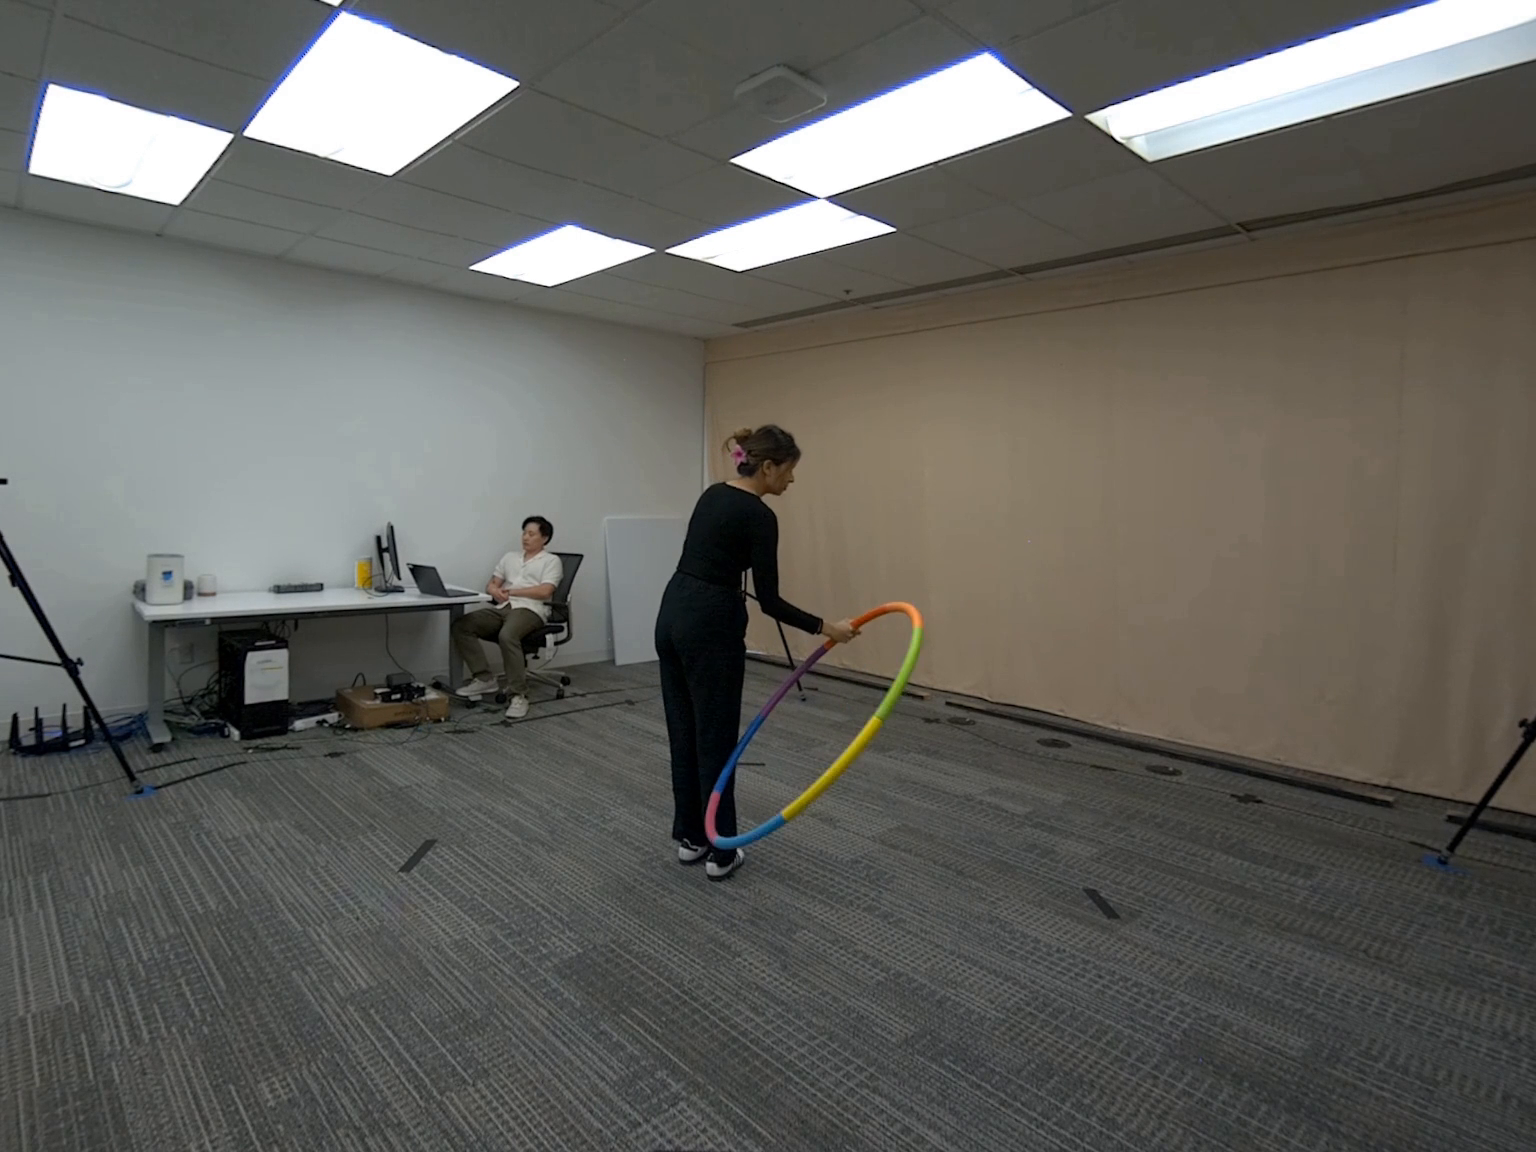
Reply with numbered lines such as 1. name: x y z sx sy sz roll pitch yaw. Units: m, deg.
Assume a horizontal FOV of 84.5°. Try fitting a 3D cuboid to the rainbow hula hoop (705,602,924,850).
1. rainbow hula hoop: 0.141 0.476 2.736 0.051 0.985 0.993 42 -1 -9
